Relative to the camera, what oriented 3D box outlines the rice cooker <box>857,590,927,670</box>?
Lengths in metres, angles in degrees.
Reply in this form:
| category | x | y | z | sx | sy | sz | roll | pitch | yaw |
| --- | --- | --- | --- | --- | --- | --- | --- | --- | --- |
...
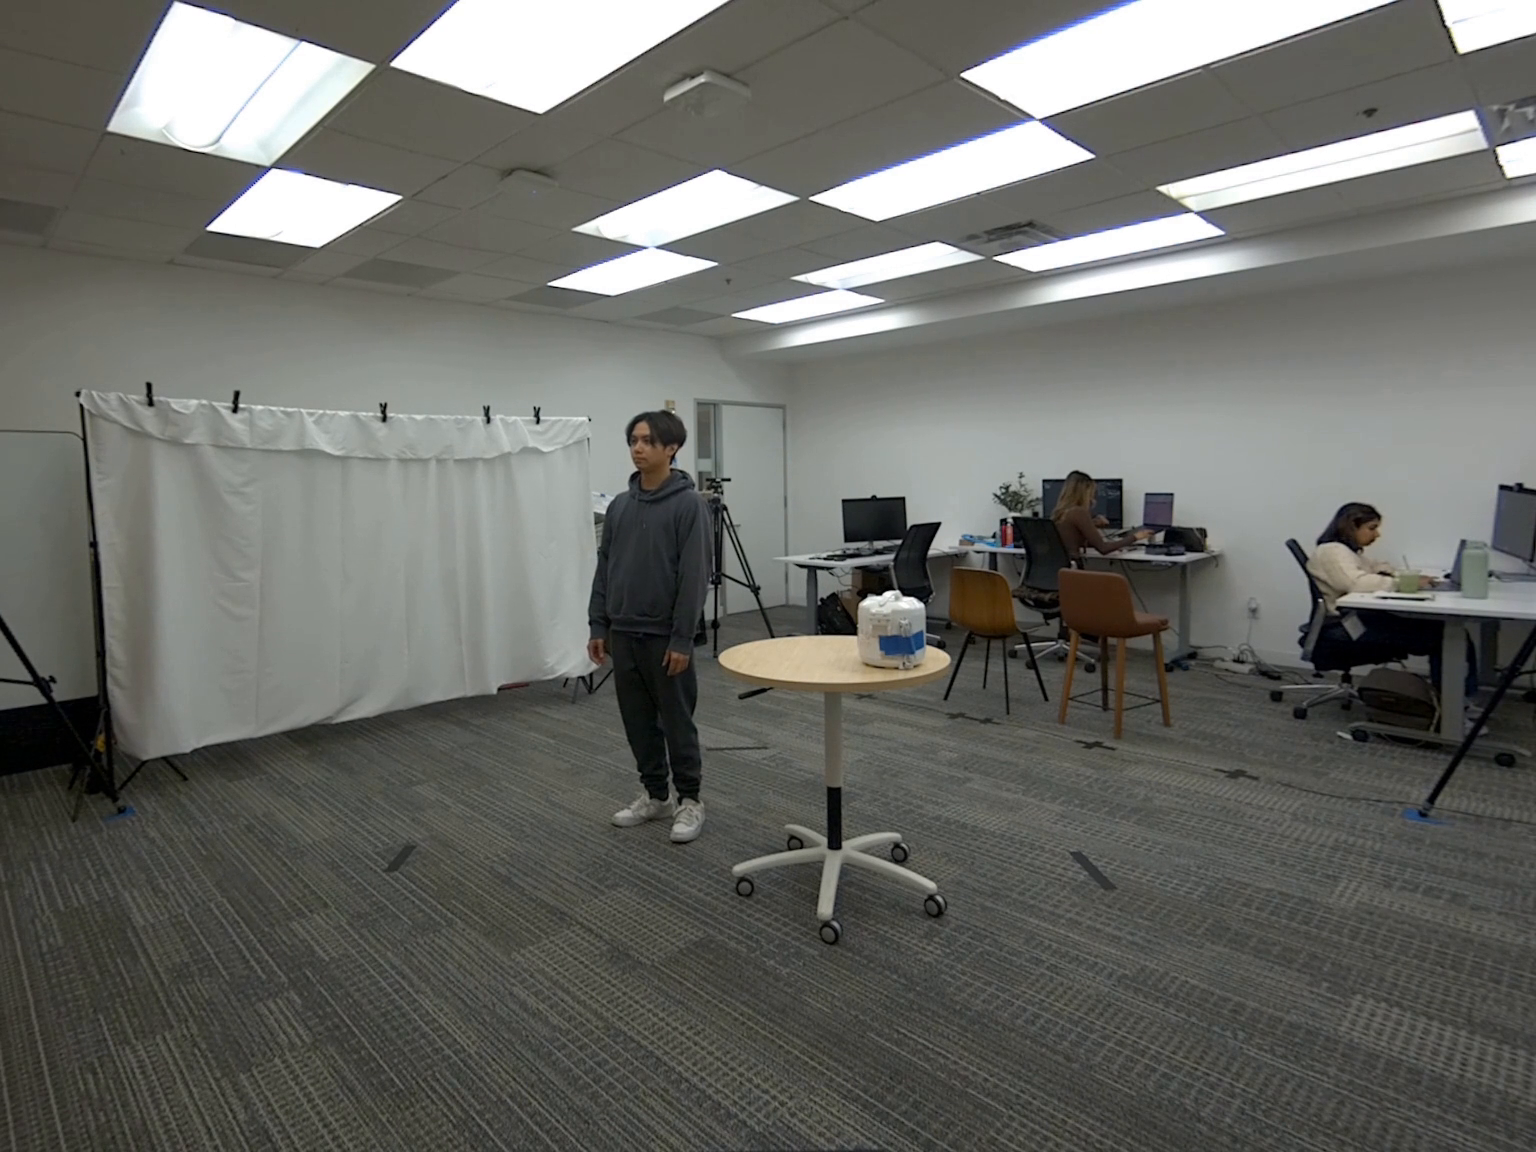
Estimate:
| category | x | y | z | sx | sy | sz | roll | pitch | yaw |
| --- | --- | --- | --- | --- | --- | --- | --- | --- | --- |
| rice cooker | 0.395 | 0.163 | 2.715 | 0.223 | 0.232 | 0.216 | 2 | 5 | 30 |
